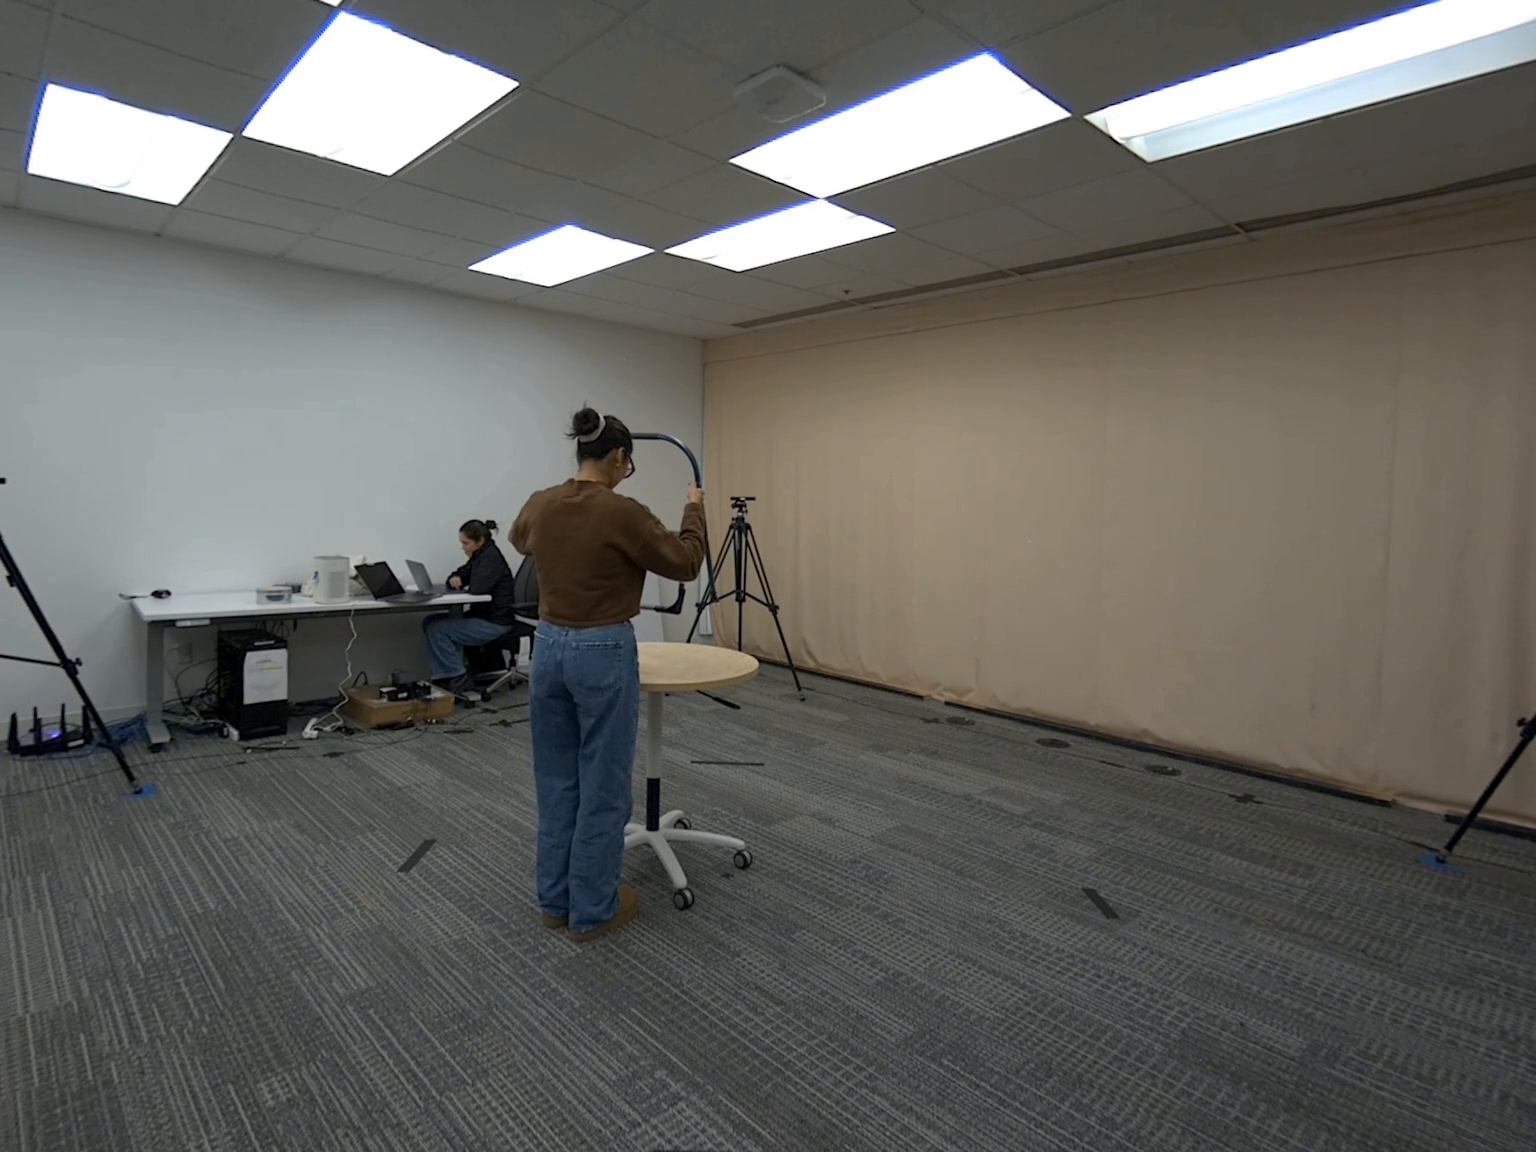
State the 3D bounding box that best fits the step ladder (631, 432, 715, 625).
[{"bbox_3d":[-0.437,-0.202,2.991,0.438,0.603,0.345,4,7,20],"label":"step ladder"}]
